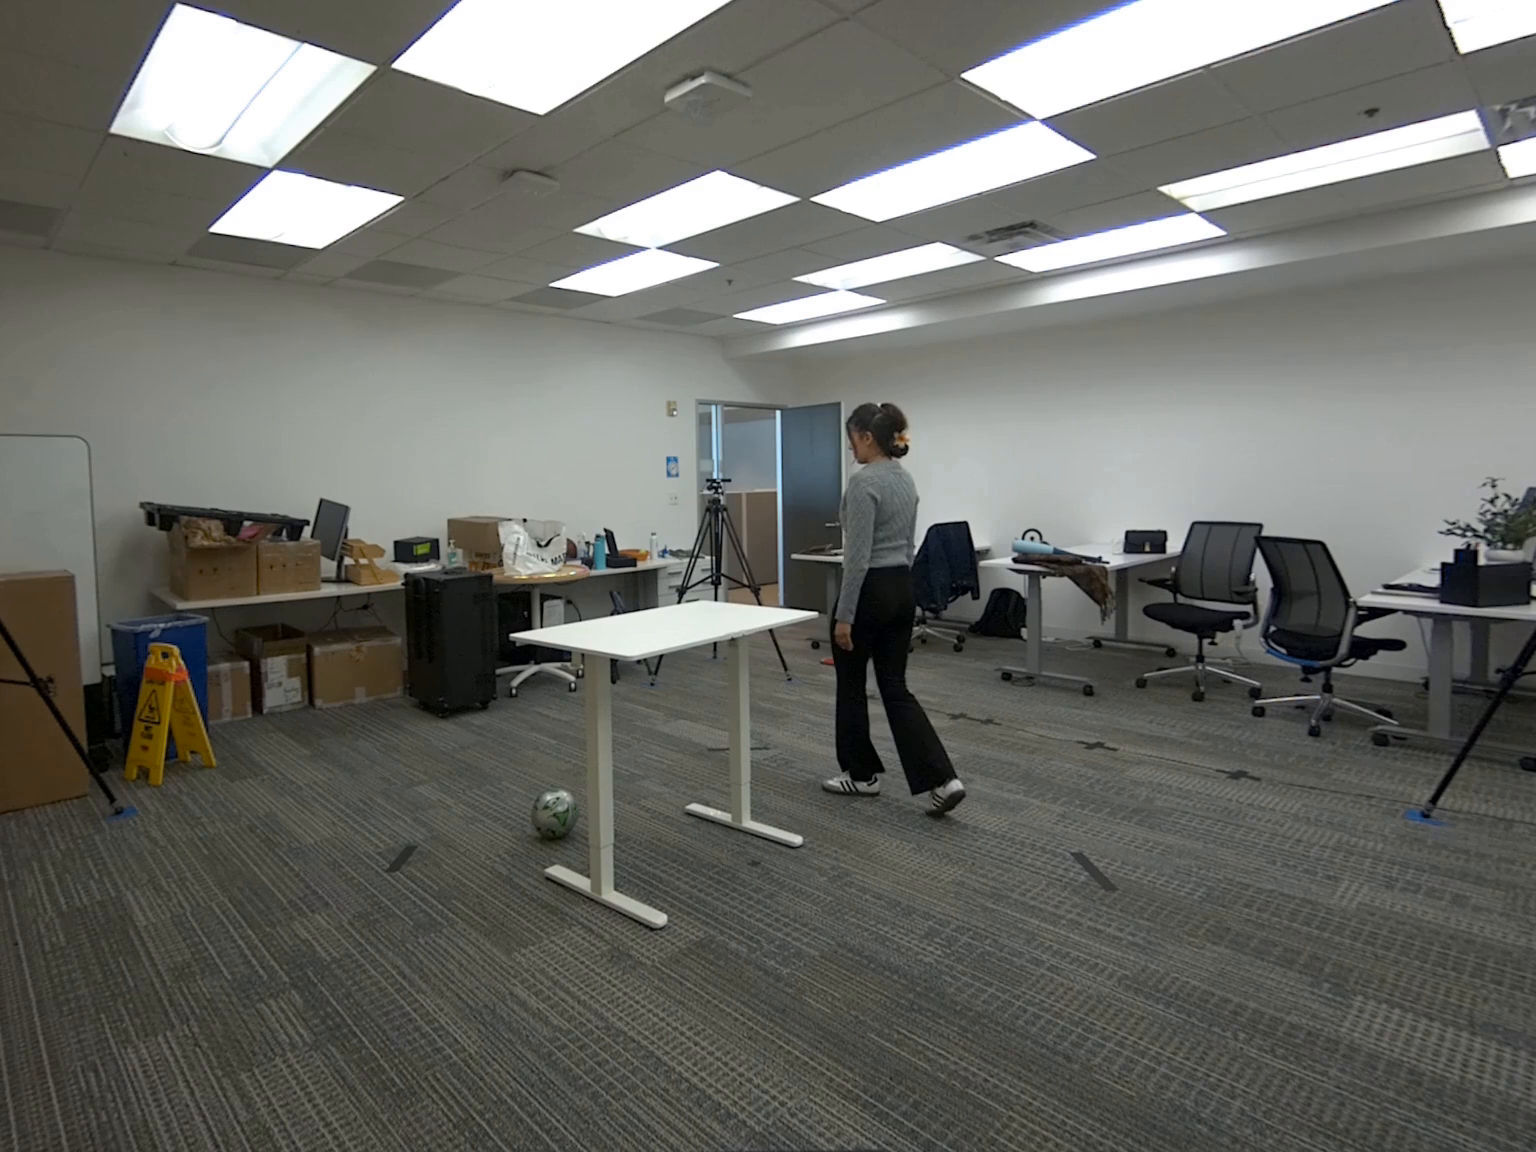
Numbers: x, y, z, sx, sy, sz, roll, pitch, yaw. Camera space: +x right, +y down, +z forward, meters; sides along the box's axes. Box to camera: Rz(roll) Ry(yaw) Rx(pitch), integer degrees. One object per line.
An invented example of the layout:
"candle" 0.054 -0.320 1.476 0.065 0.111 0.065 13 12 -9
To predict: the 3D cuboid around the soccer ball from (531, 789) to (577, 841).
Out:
"soccer ball" -0.845 0.936 3.371 0.187 0.187 0.188 -1 5 -2
